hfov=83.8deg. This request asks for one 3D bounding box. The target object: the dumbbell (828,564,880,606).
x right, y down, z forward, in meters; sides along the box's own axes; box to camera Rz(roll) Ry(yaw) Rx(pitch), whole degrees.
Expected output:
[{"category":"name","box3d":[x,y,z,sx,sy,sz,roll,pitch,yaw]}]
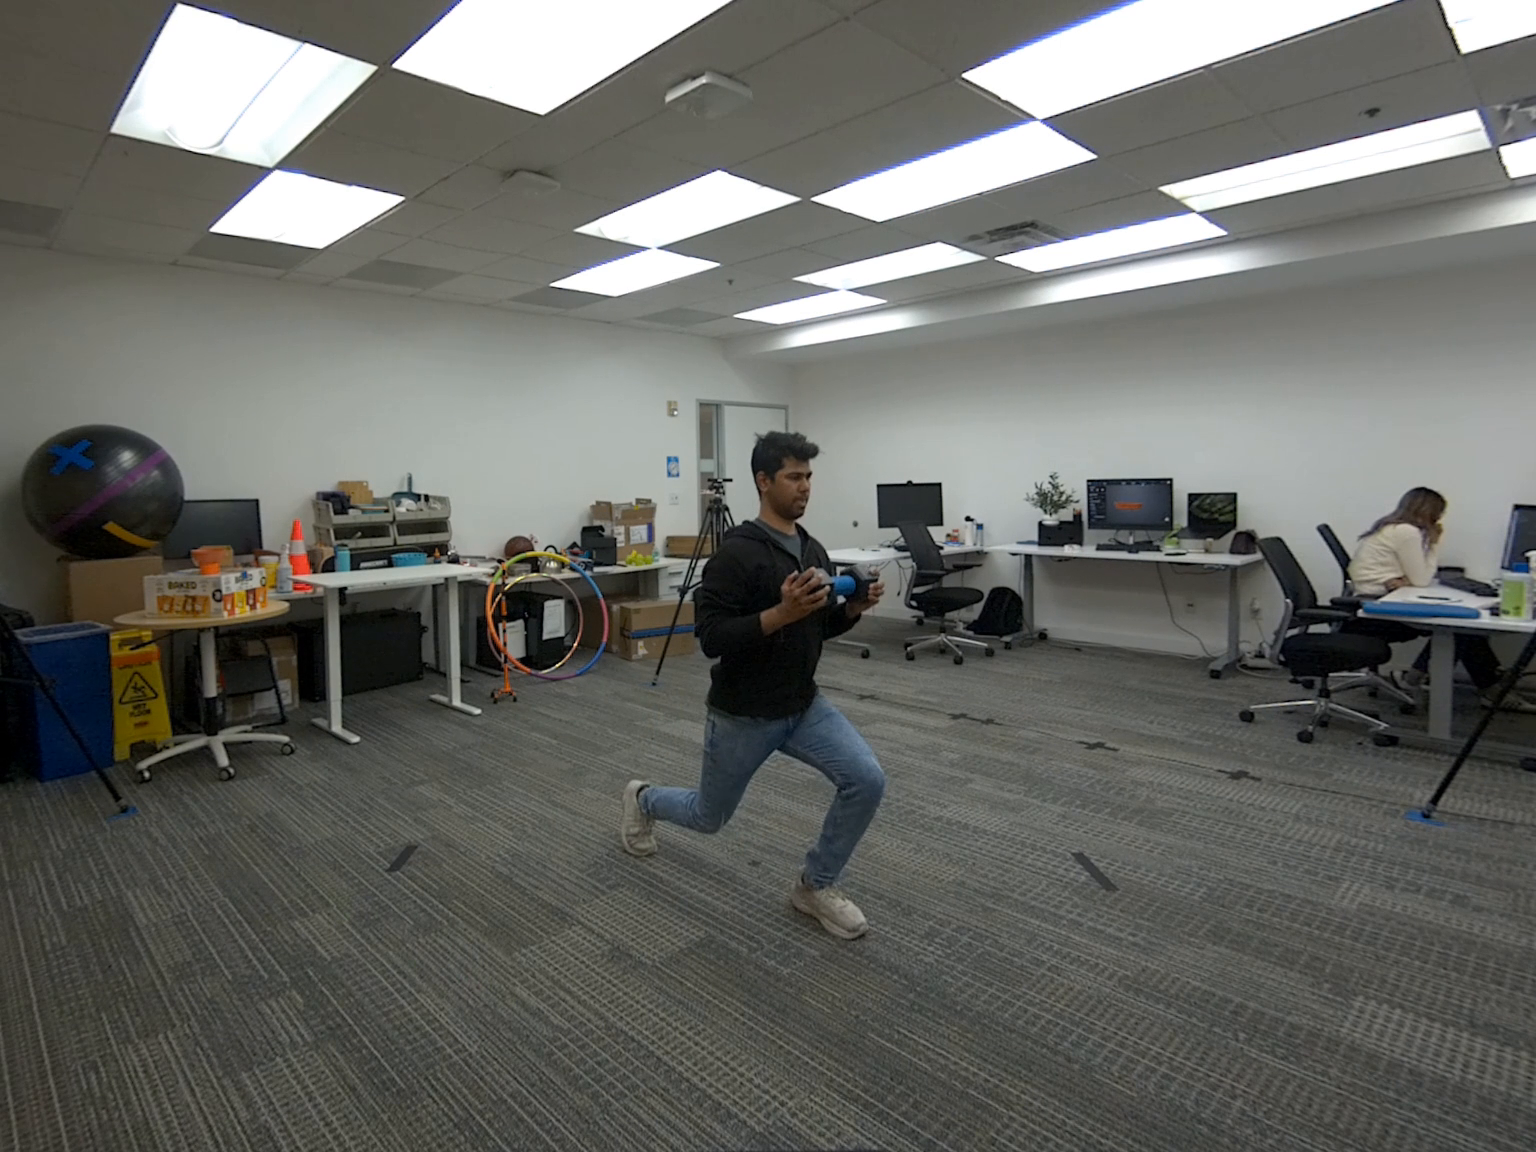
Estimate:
[{"category":"dumbbell","box3d":[0.198,0.035,2.614,0.286,0.122,0.113,-6,19,-44]}]
